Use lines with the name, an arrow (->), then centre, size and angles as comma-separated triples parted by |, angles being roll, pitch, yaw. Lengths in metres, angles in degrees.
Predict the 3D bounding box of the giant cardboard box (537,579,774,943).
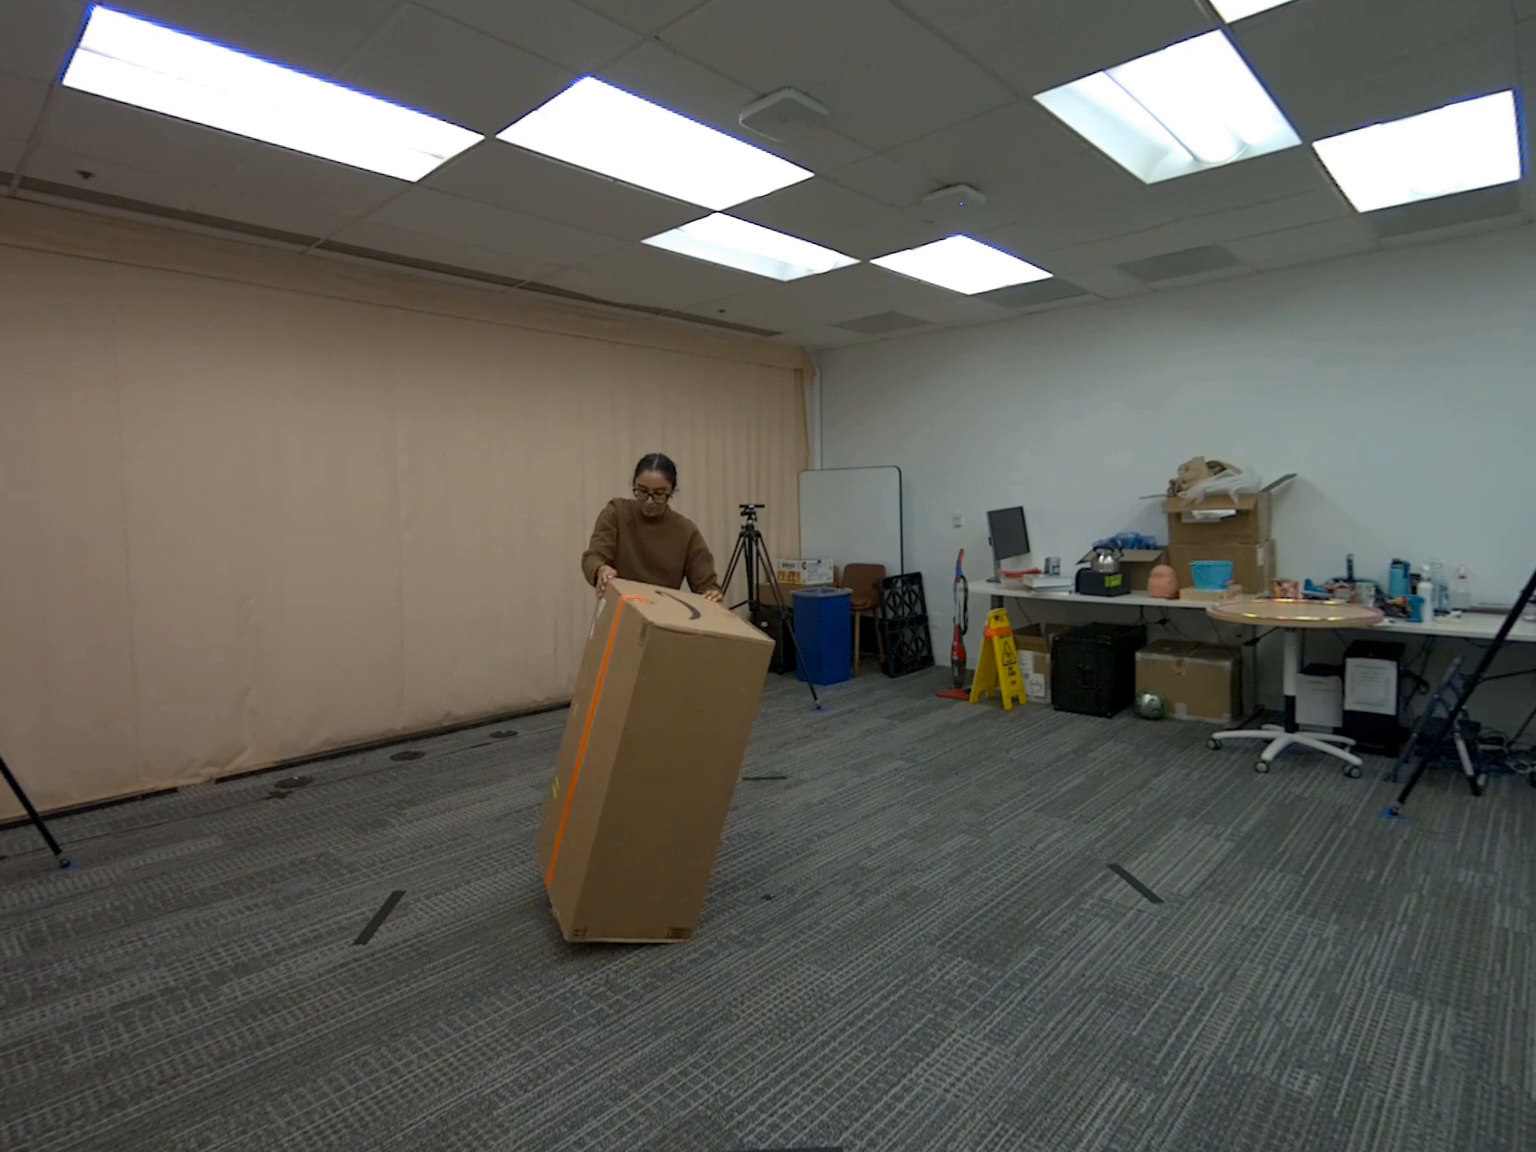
giant cardboard box -> -0.411, 0.596, 2.827 | 0.434, 1.025, 0.601 | 13, 6, -27
